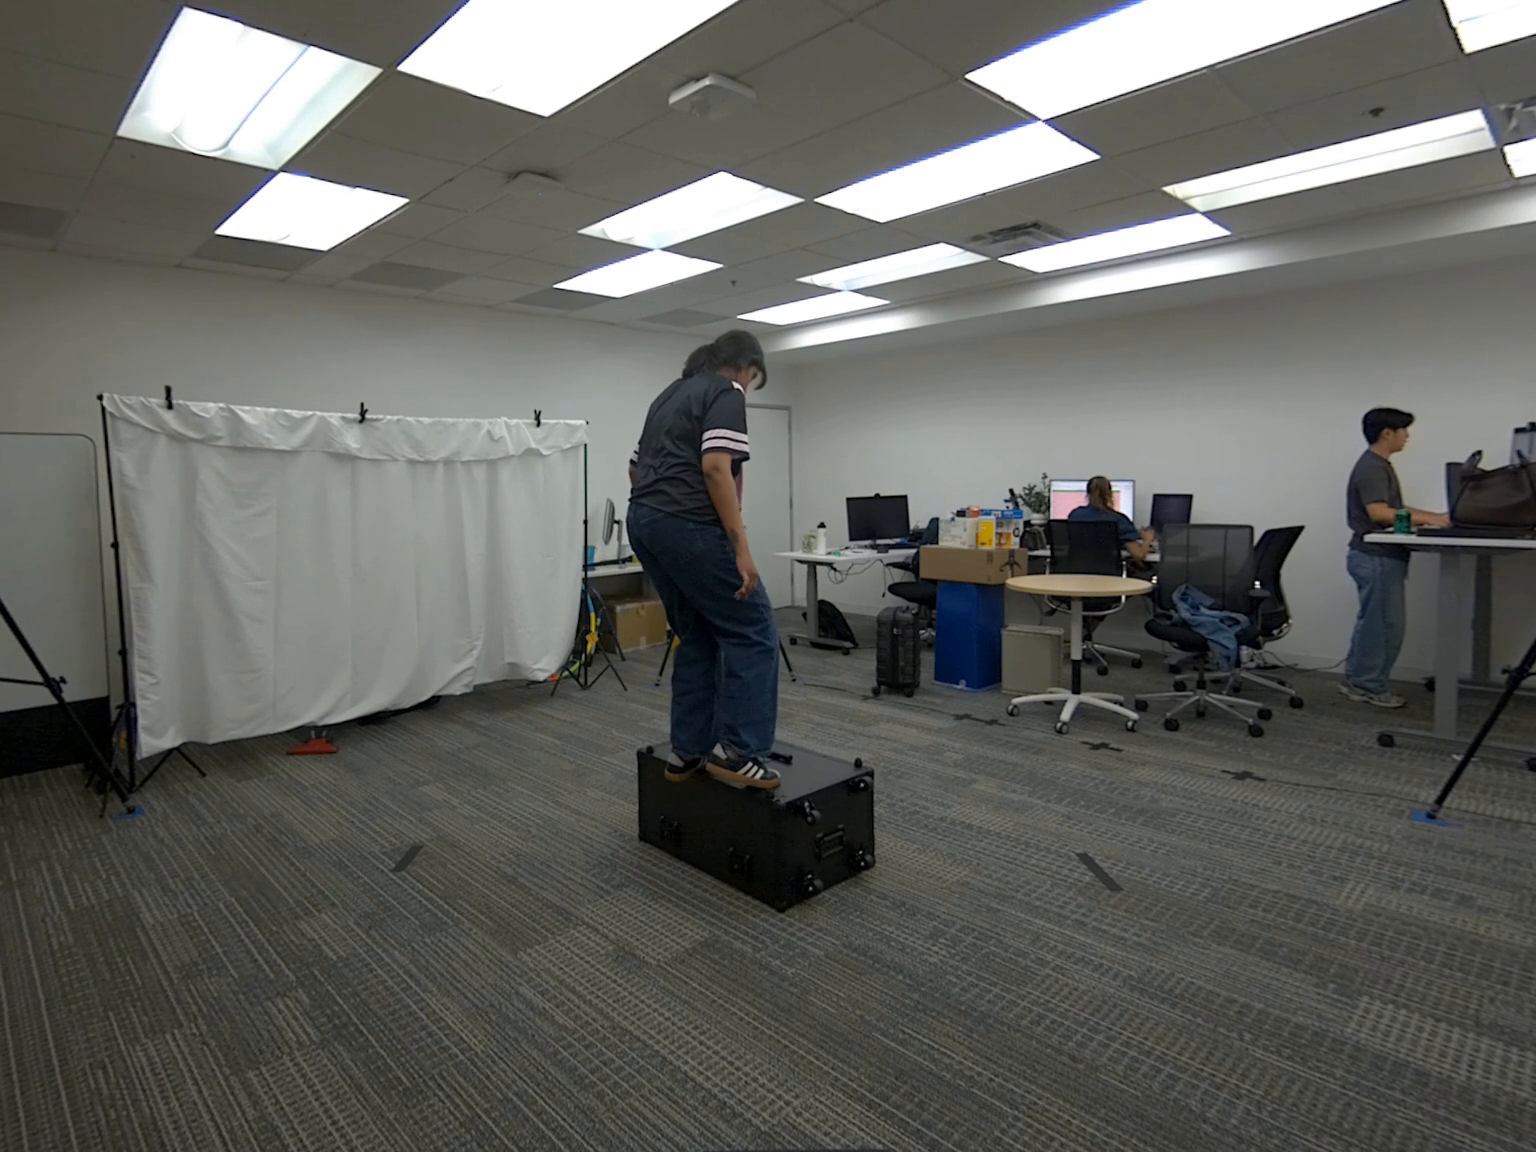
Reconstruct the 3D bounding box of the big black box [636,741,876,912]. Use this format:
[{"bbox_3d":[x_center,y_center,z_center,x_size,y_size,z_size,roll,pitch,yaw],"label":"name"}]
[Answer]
[{"bbox_3d":[-0.031,0.856,3.168,0.509,0.384,0.895,-5,7,-43],"label":"big black box"}]
